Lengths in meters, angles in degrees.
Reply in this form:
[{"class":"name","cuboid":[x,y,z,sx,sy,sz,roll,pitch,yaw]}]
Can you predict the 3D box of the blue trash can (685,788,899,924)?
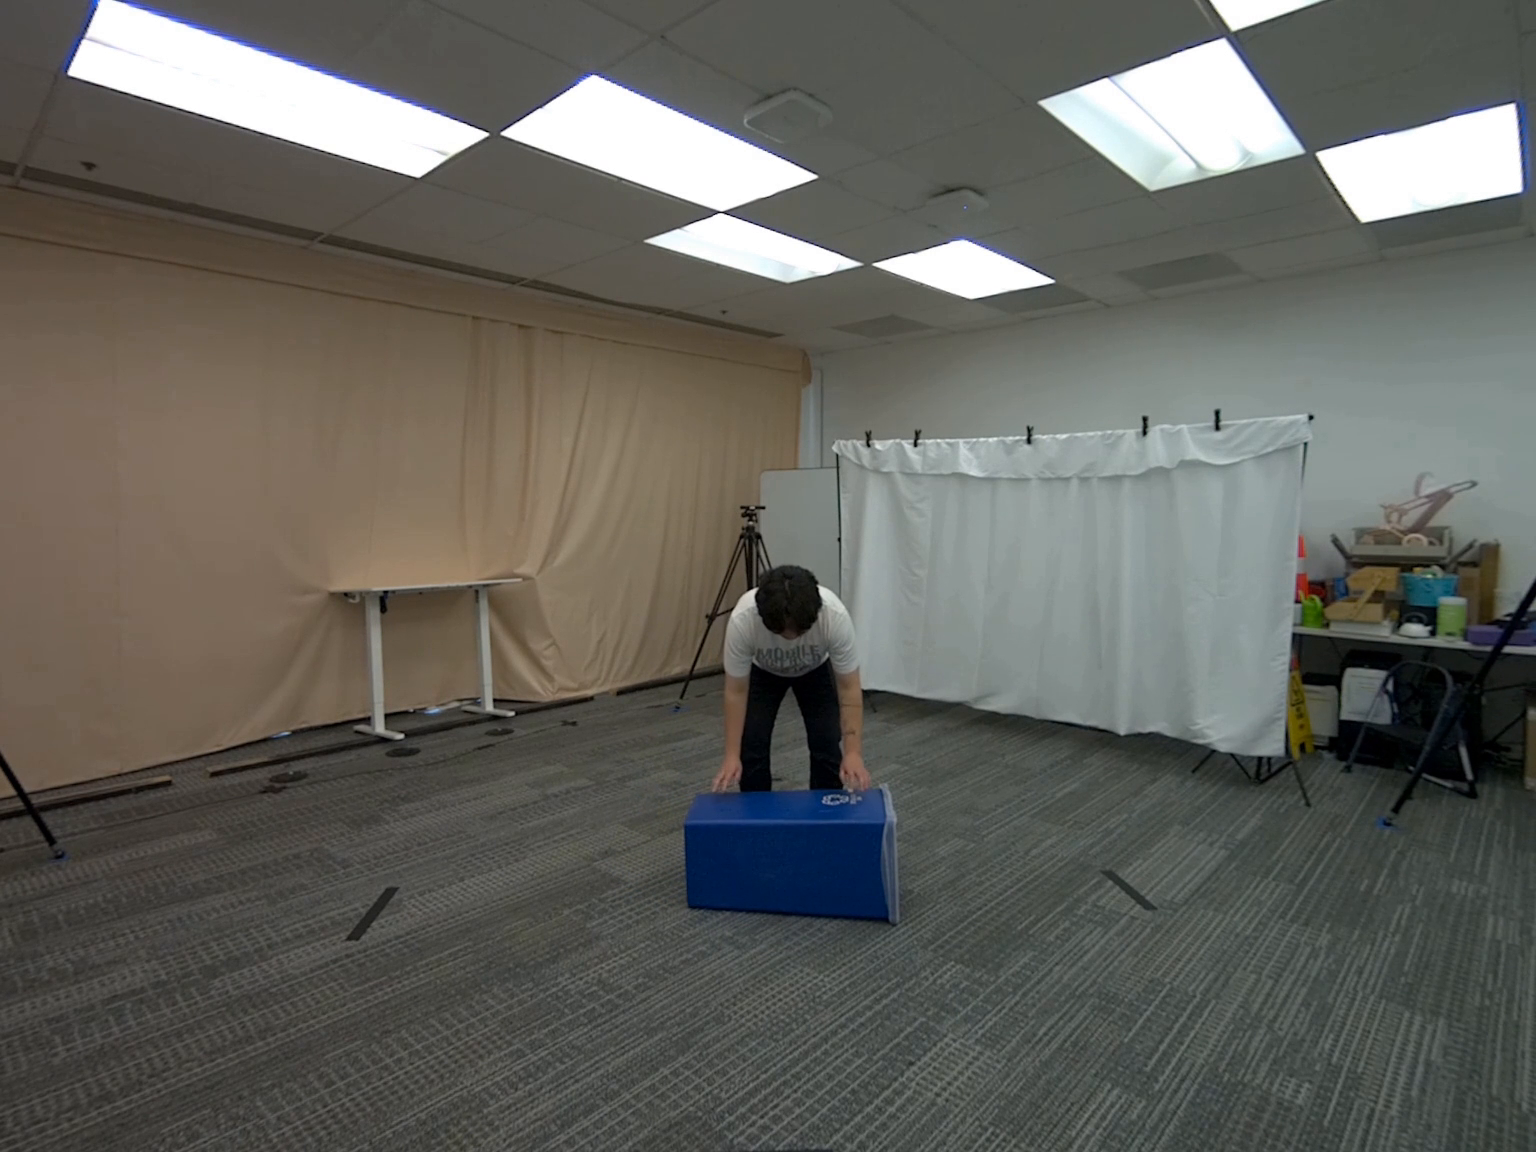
[{"class":"blue trash can","cuboid":[0.089,0.971,2.993,0.719,0.377,0.372,-2,4,6]}]
